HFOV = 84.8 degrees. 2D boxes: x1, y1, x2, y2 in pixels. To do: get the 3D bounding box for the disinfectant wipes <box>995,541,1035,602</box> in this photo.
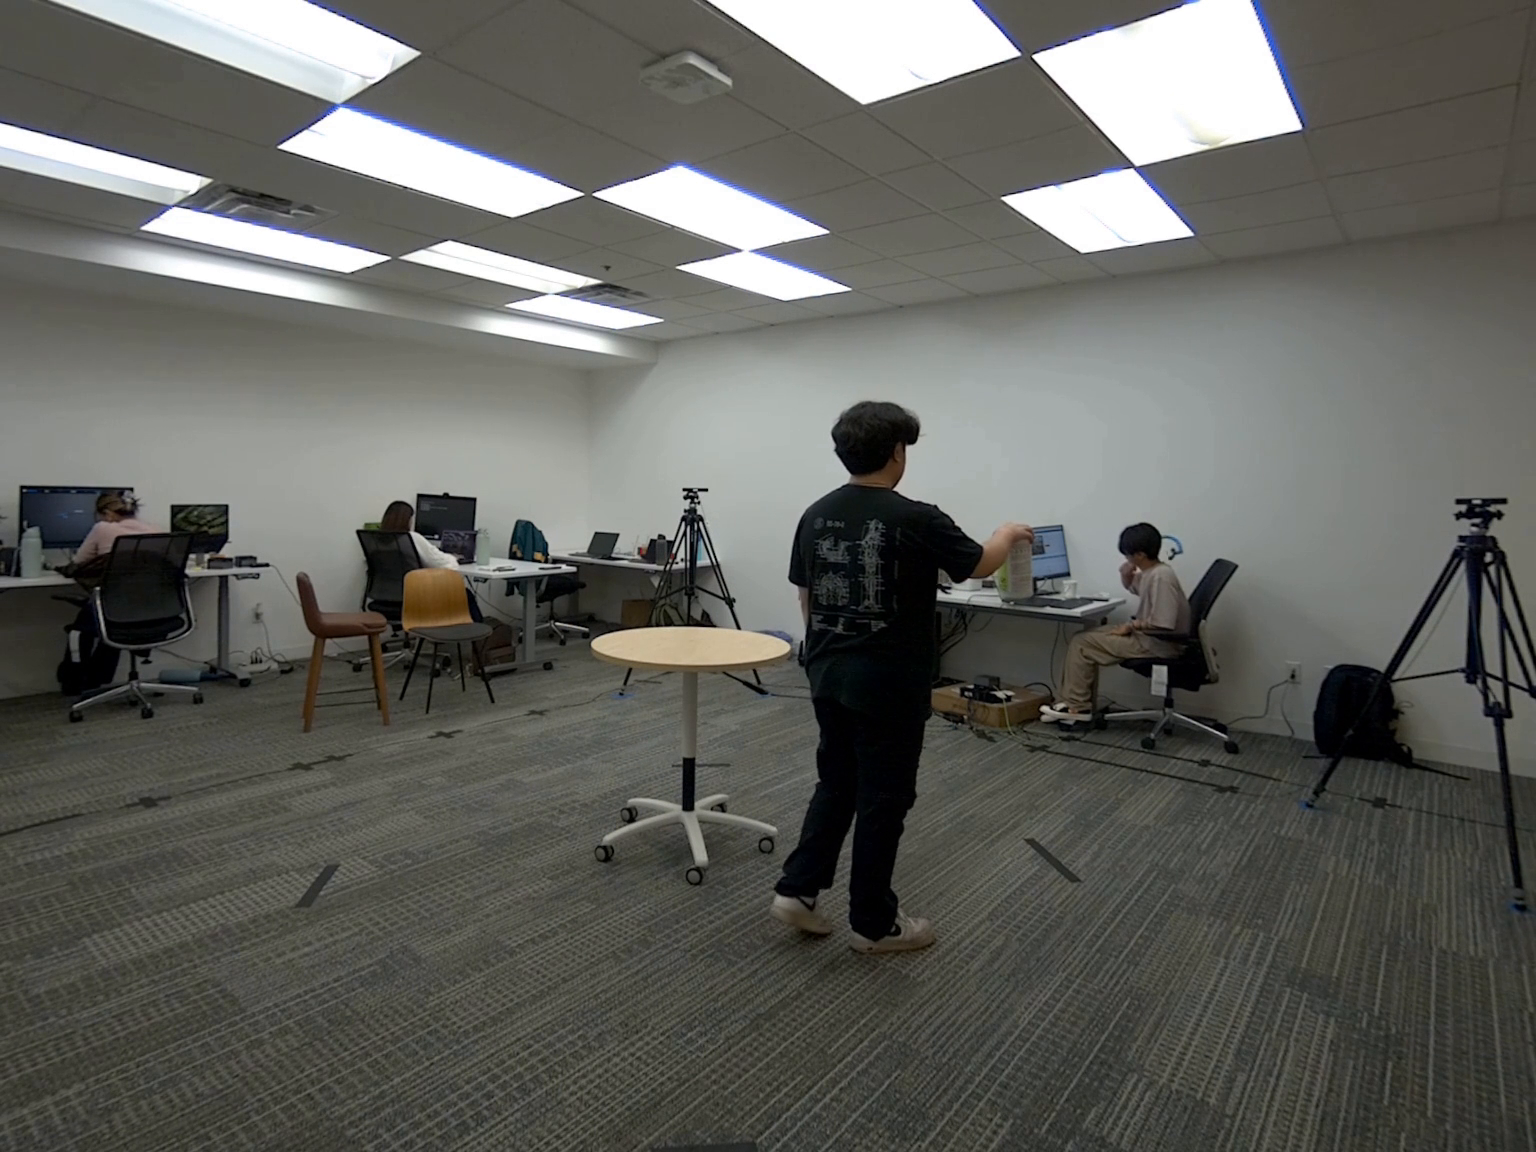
[{"bbox_3d":[0.823,-0.037,2.844,0.118,0.216,0.118,-4,6,-1],"label":"disinfectant wipes"}]
